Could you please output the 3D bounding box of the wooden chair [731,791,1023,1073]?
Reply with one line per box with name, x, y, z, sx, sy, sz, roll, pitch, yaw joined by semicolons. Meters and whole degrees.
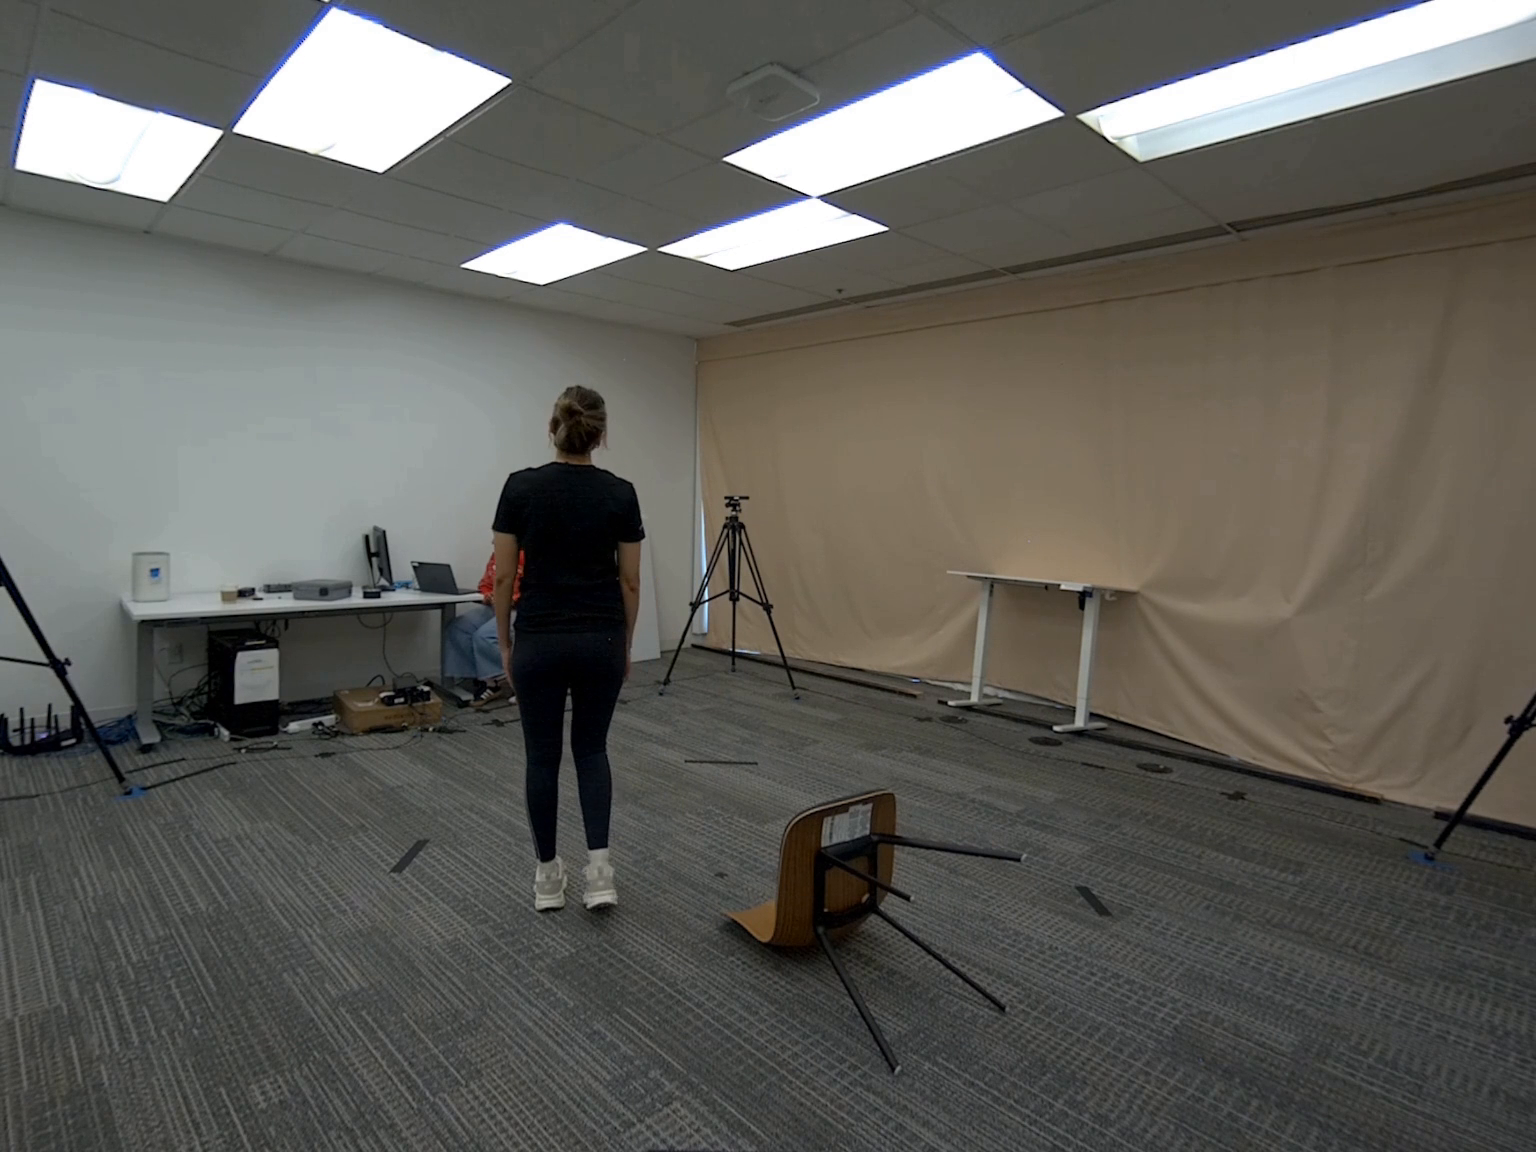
wooden chair;0.229;0.905;2.504;0.467;0.522;0.899;-1;5;-38
